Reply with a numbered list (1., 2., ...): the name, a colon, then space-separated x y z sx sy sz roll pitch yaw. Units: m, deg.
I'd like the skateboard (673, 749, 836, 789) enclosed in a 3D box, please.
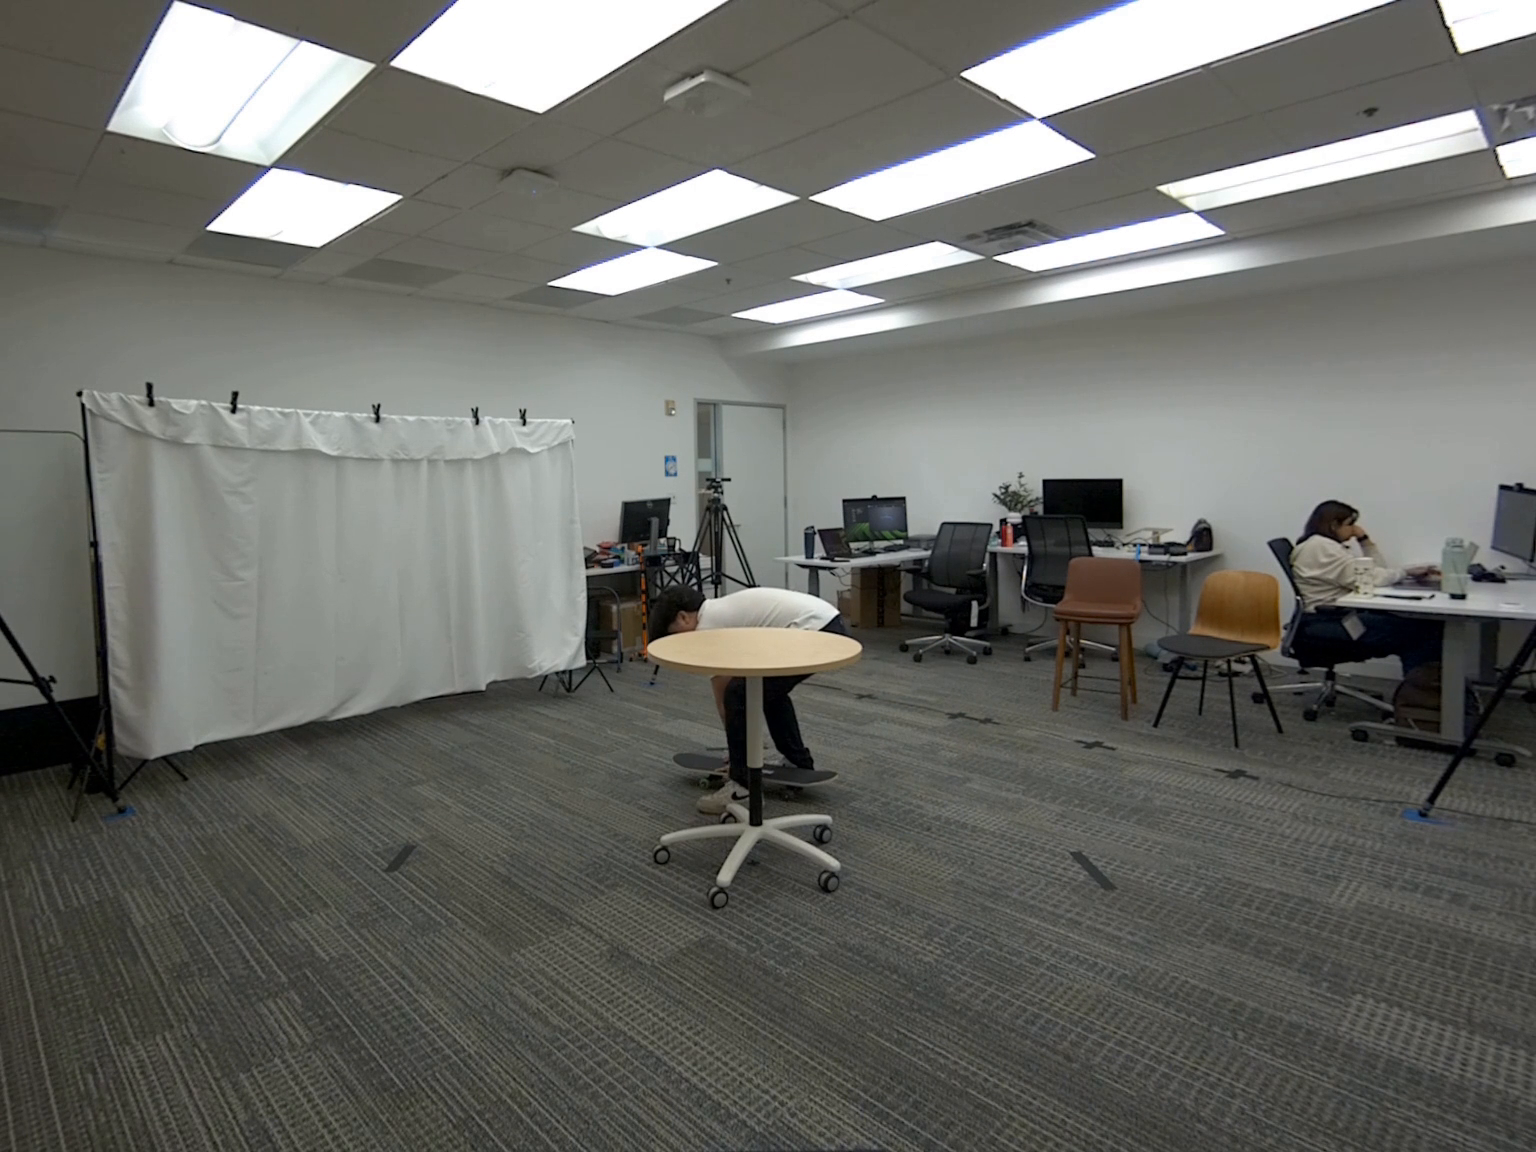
1. skateboard: -0.070 0.902 3.838 0.803 0.110 0.190 1 6 25
